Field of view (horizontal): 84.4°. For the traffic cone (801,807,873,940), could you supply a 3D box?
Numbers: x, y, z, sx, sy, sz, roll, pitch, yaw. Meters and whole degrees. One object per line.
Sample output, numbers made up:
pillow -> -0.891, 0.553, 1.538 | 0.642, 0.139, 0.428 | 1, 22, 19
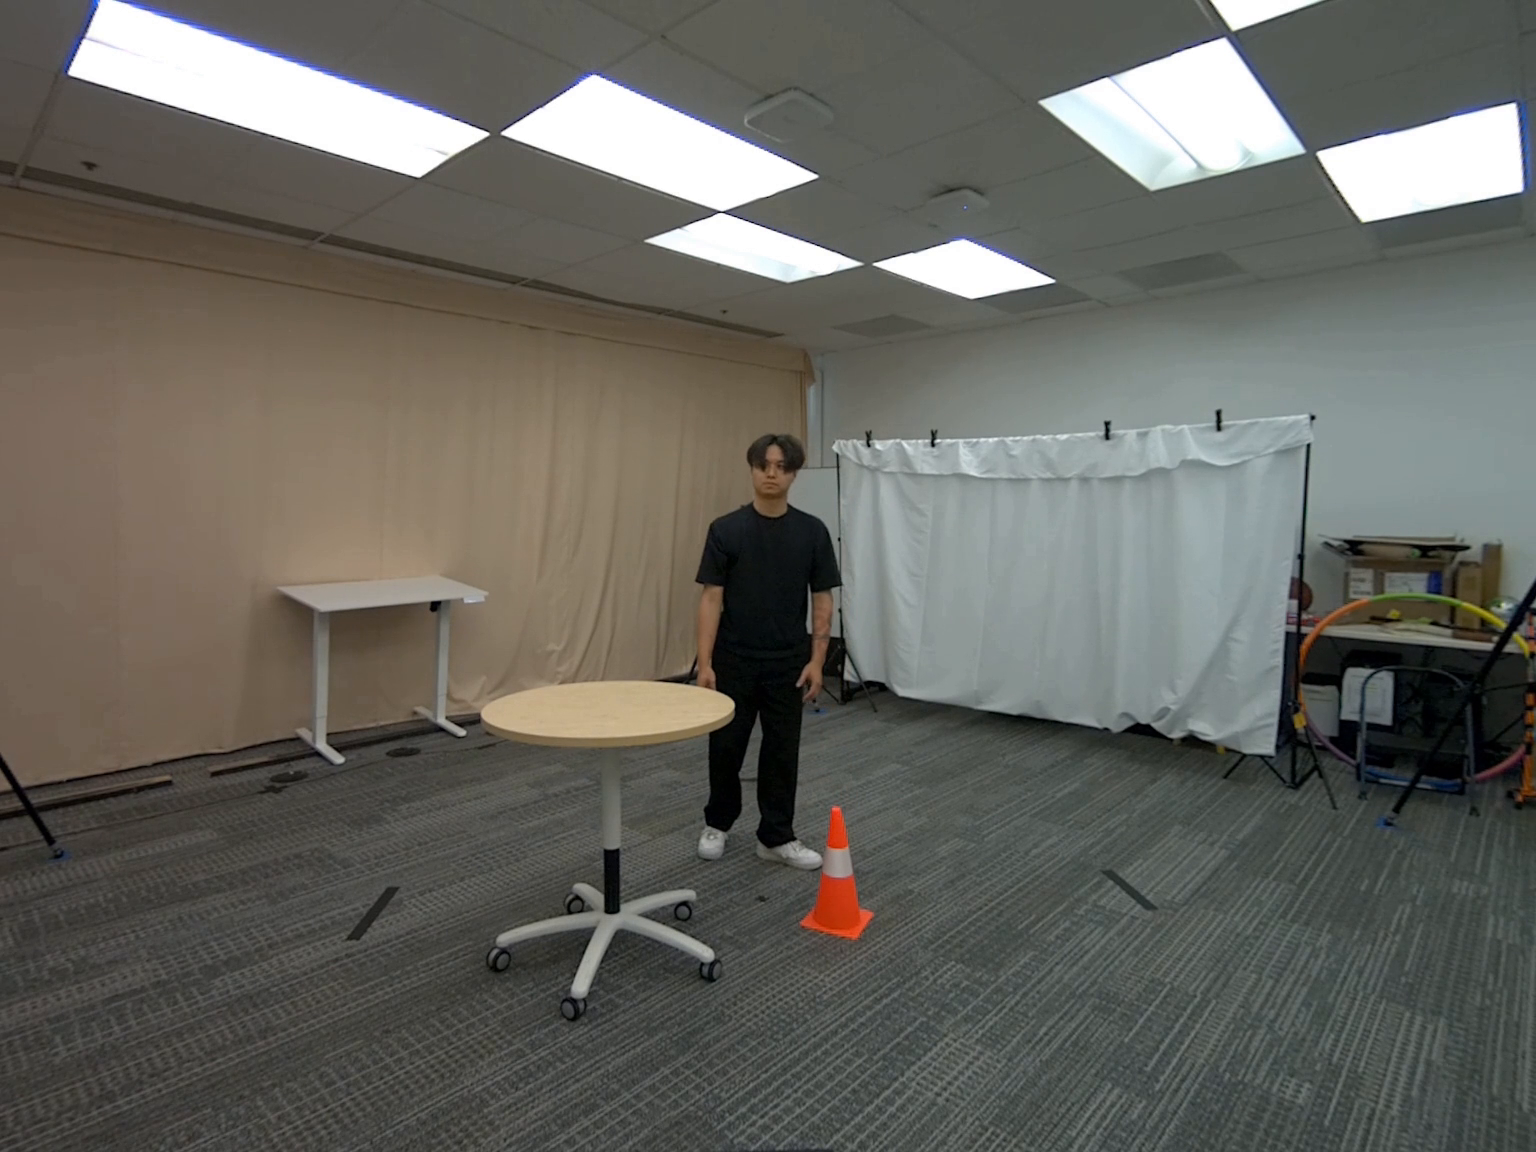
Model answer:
traffic cone -> 0.233, 0.971, 2.829 | 0.210, 0.383, 0.198 | 0, 2, 25
